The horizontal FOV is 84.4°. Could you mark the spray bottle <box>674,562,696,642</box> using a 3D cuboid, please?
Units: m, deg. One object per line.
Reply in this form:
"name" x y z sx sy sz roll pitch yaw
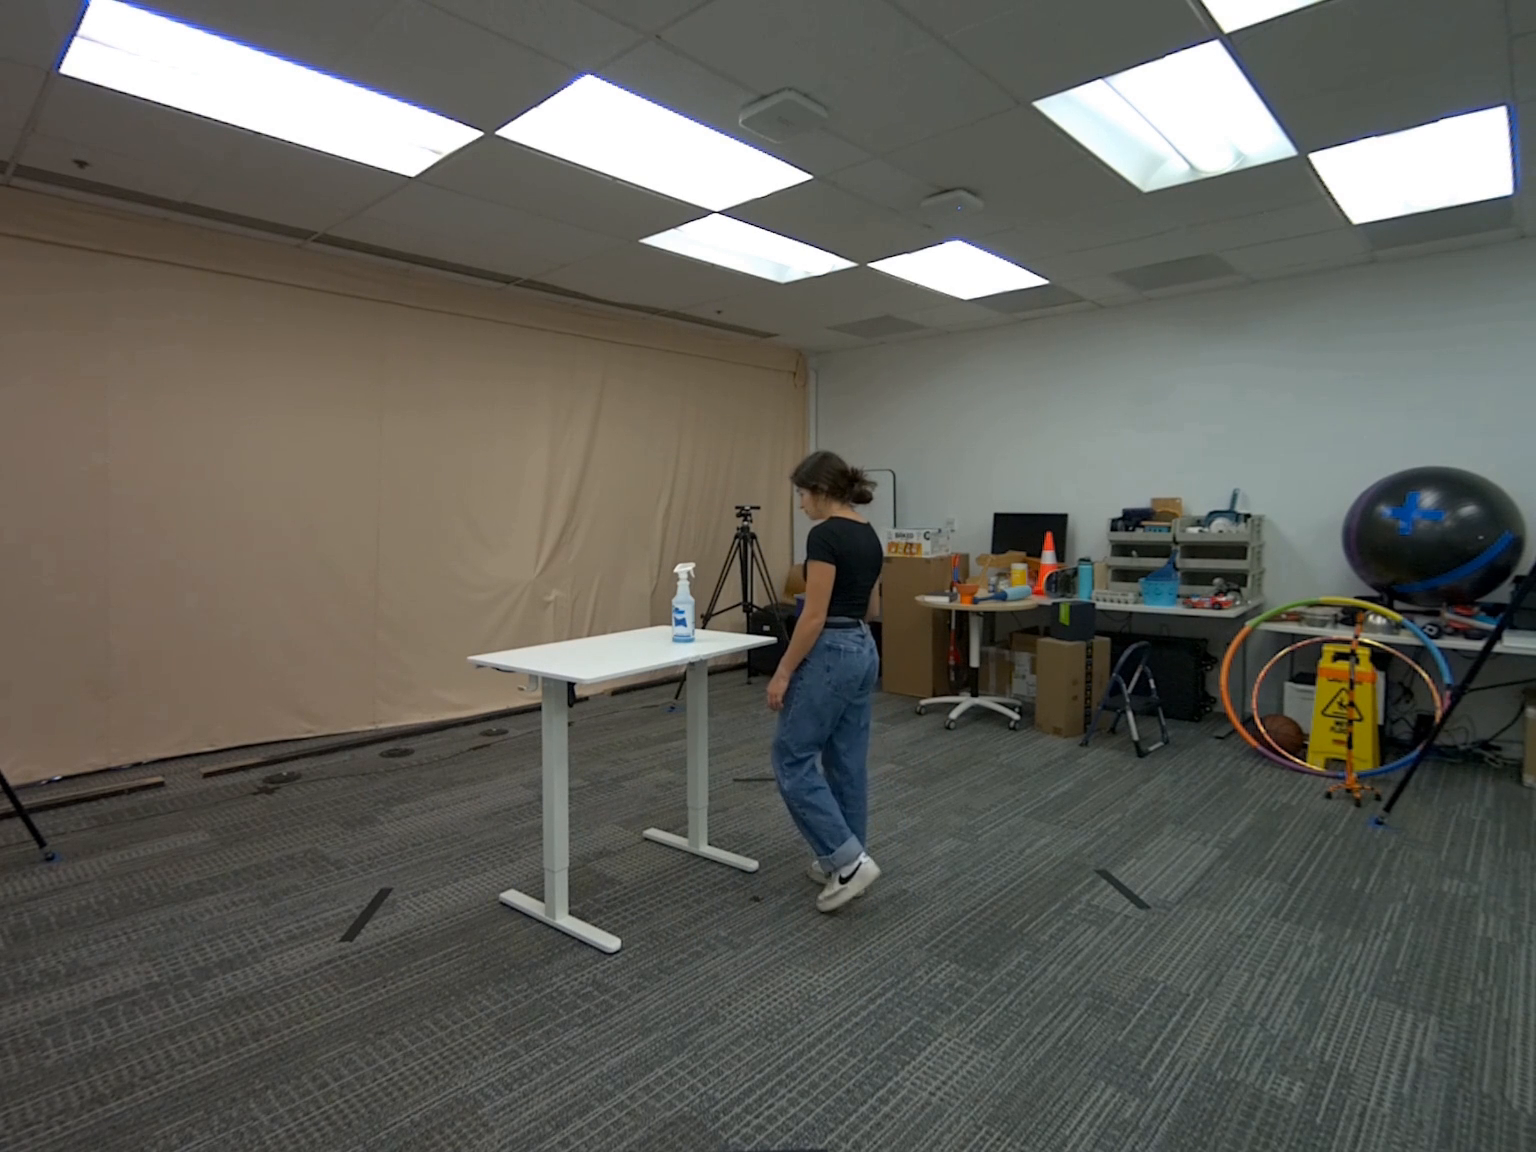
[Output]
"spray bottle" -0.318 0.104 3.201 0.089 0.297 0.088 2 2 -11
